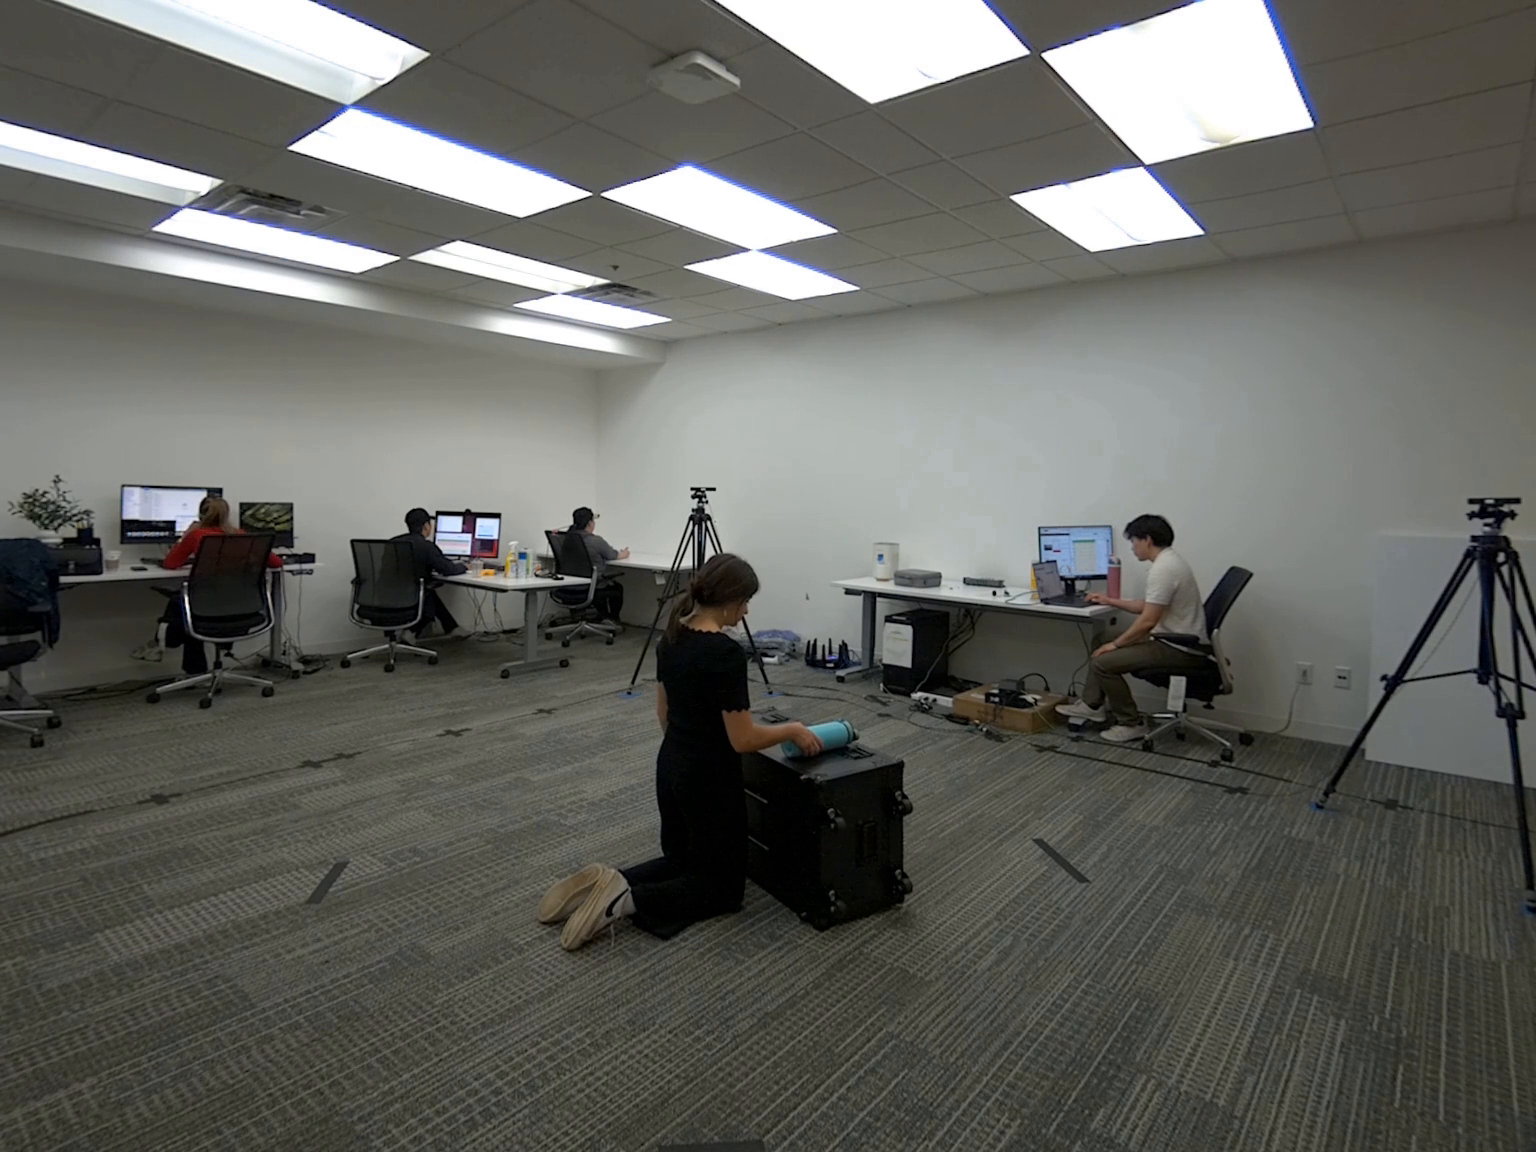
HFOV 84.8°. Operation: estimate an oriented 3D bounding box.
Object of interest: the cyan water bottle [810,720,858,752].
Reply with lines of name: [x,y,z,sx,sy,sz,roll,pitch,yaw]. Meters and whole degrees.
cyan water bottle: [0.178,0.558,2.945,0.277,0.092,0.095,-6,7,-26]
